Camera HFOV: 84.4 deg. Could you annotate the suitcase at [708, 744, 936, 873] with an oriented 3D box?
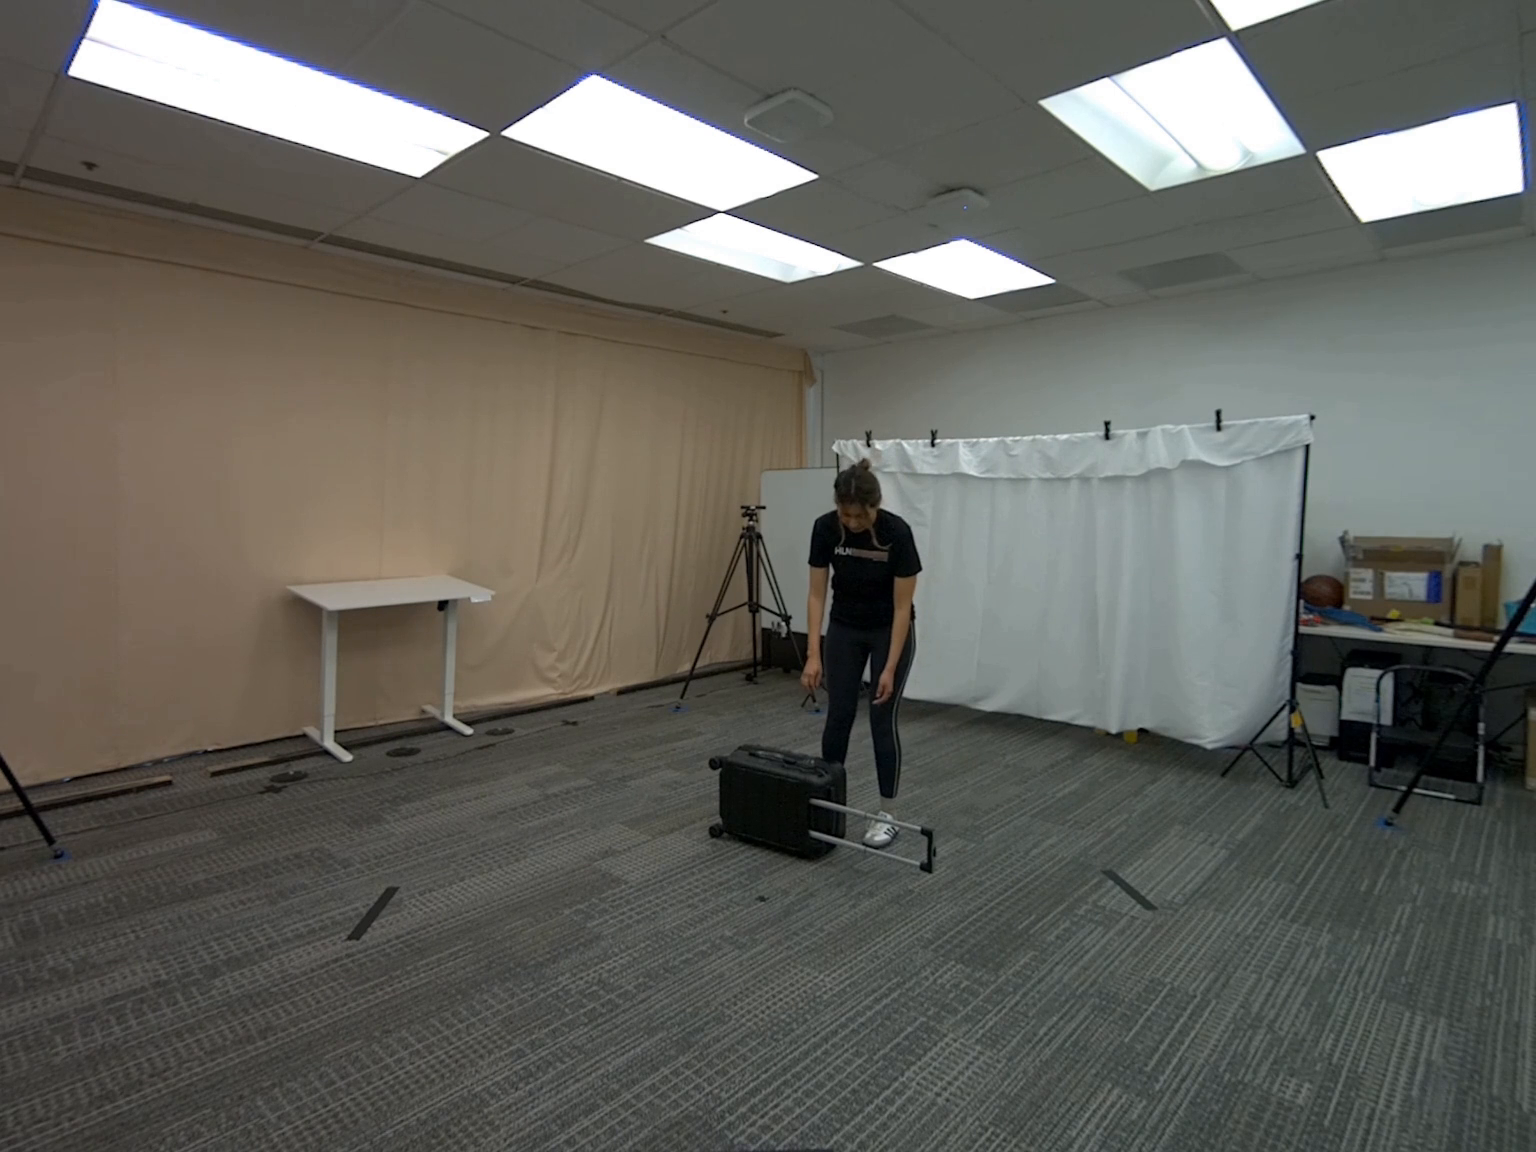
[{"bbox_3d":[0.221,0.923,3.342,1.009,0.383,0.250,3,5,34],"label":"suitcase"}]
